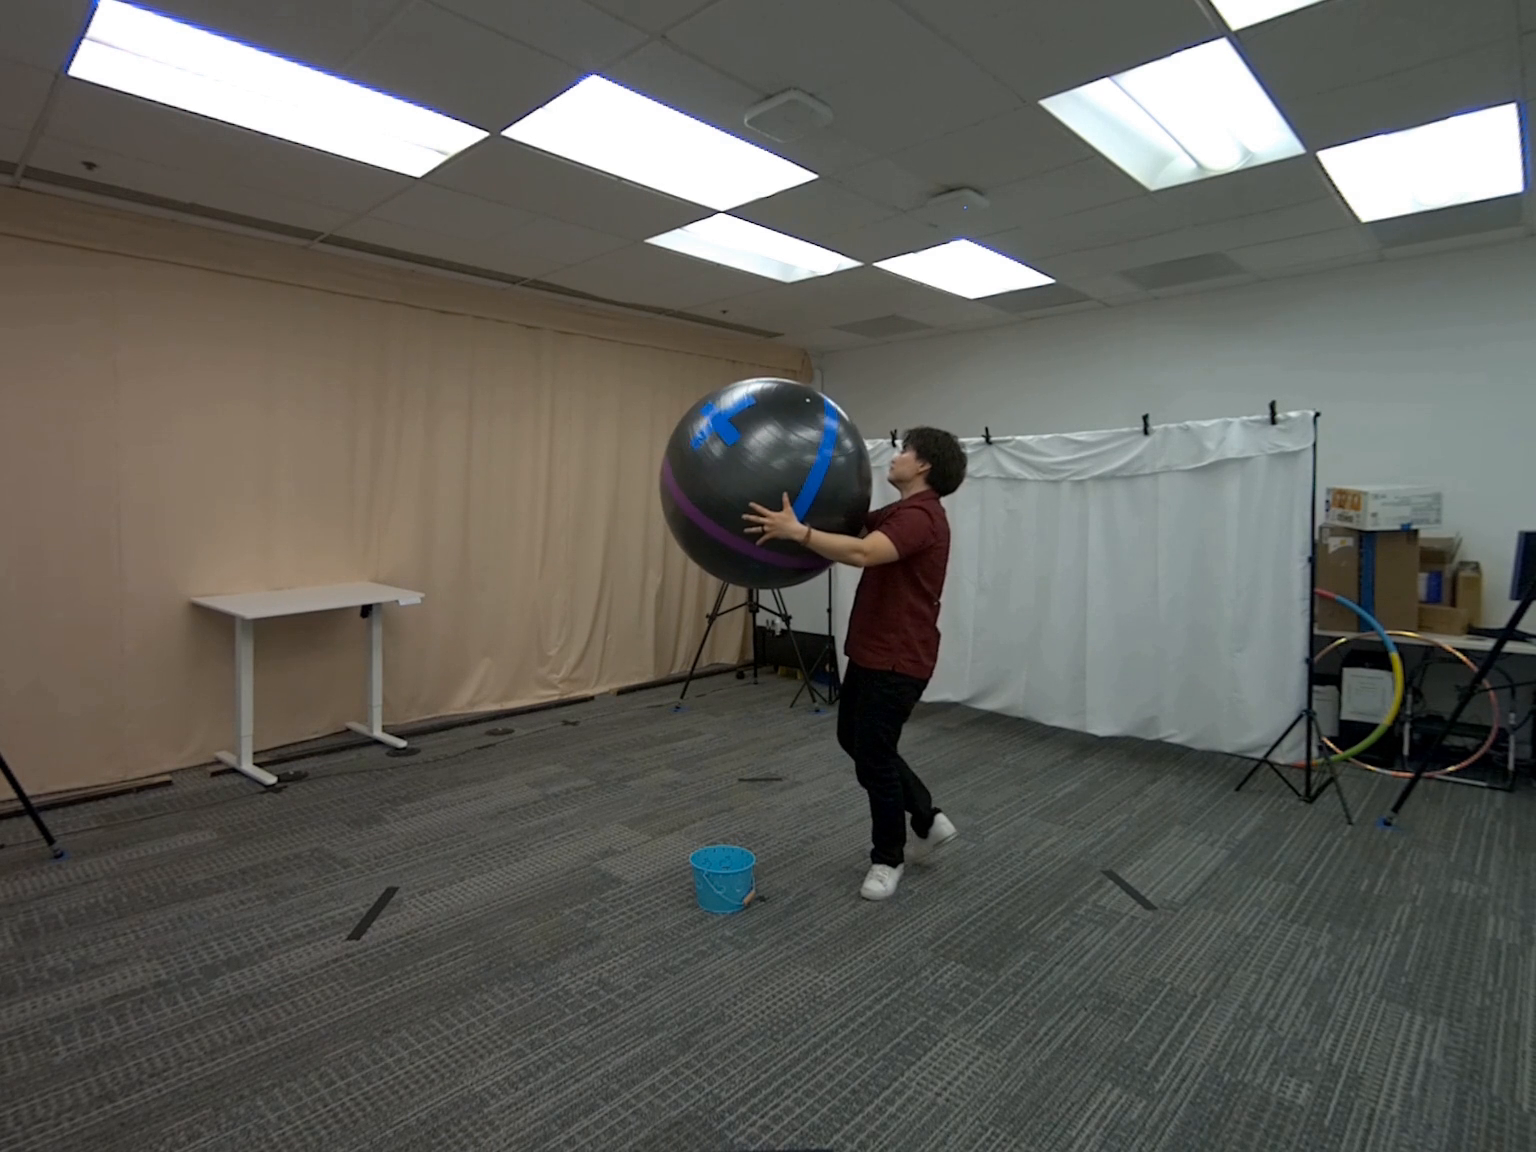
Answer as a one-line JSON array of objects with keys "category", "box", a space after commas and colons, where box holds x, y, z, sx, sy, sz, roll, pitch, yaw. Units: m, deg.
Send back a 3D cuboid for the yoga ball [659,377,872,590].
[{"category": "yoga ball", "box": [-0.005, -0.322, 3.043, 0.757, 0.756, 0.760, 0, 4, -2]}]
